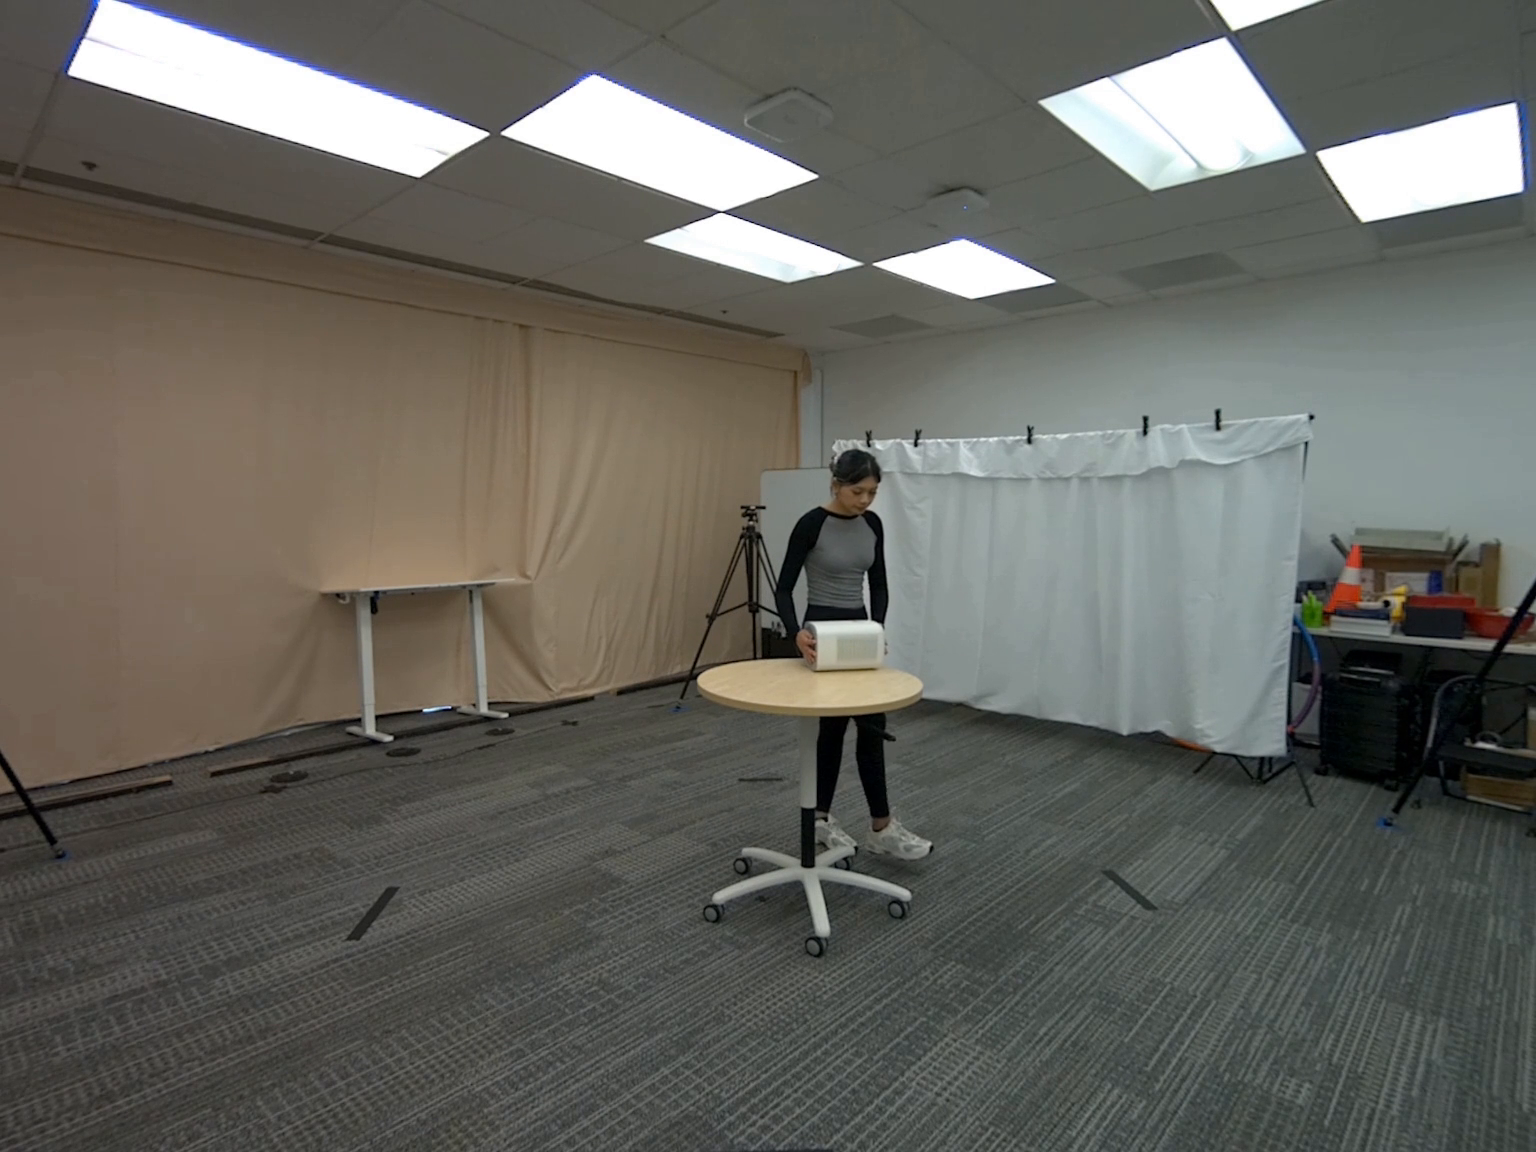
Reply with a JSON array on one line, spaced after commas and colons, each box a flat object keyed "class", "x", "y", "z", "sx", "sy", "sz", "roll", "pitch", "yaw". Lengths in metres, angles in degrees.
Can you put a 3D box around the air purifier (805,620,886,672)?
[{"class": "air purifier", "x": 0.284, "y": 0.251, "z": 3.086, "sx": 0.262, "sy": 0.171, "sz": 0.173, "roll": -1, "pitch": 3, "yaw": -10}]
